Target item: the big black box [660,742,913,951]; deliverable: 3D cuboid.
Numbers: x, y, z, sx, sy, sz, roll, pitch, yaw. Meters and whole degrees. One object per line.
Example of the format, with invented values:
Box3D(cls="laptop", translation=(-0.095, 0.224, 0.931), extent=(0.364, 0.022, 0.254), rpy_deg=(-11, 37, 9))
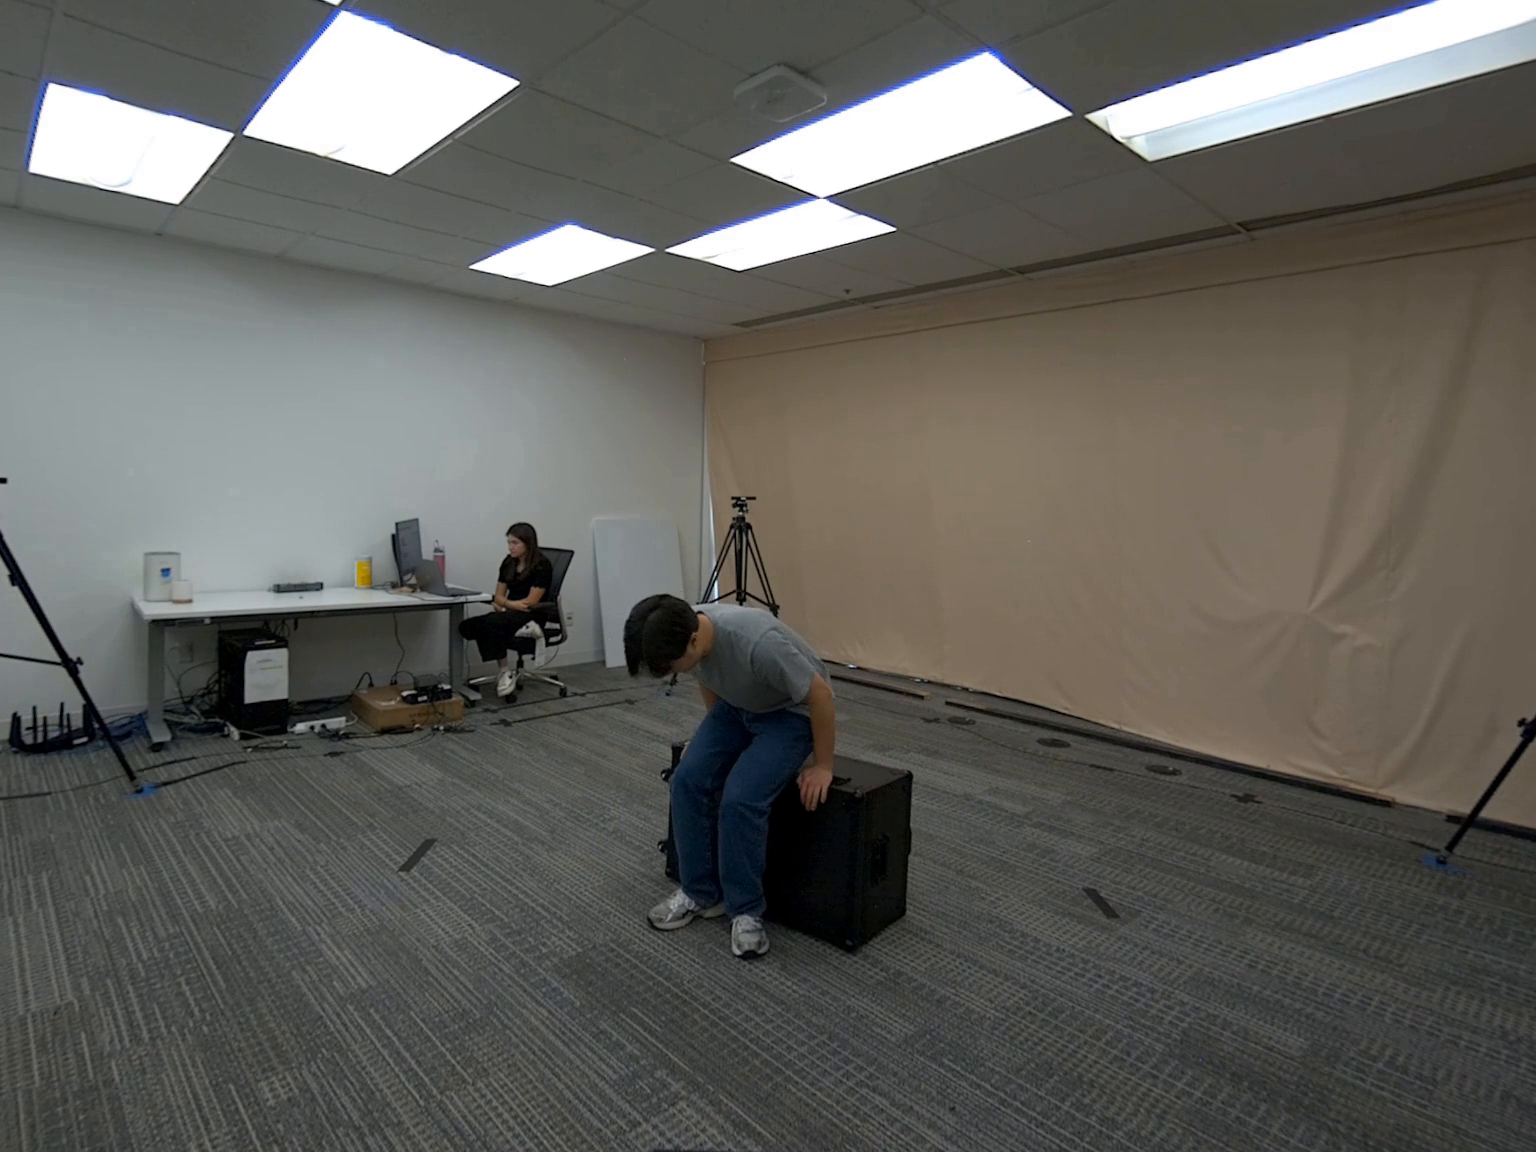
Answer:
Box3D(cls="big black box", translation=(0.035, 0.865, 2.969), extent=(0.882, 0.520, 0.387), rpy_deg=(5, 3, 37))
